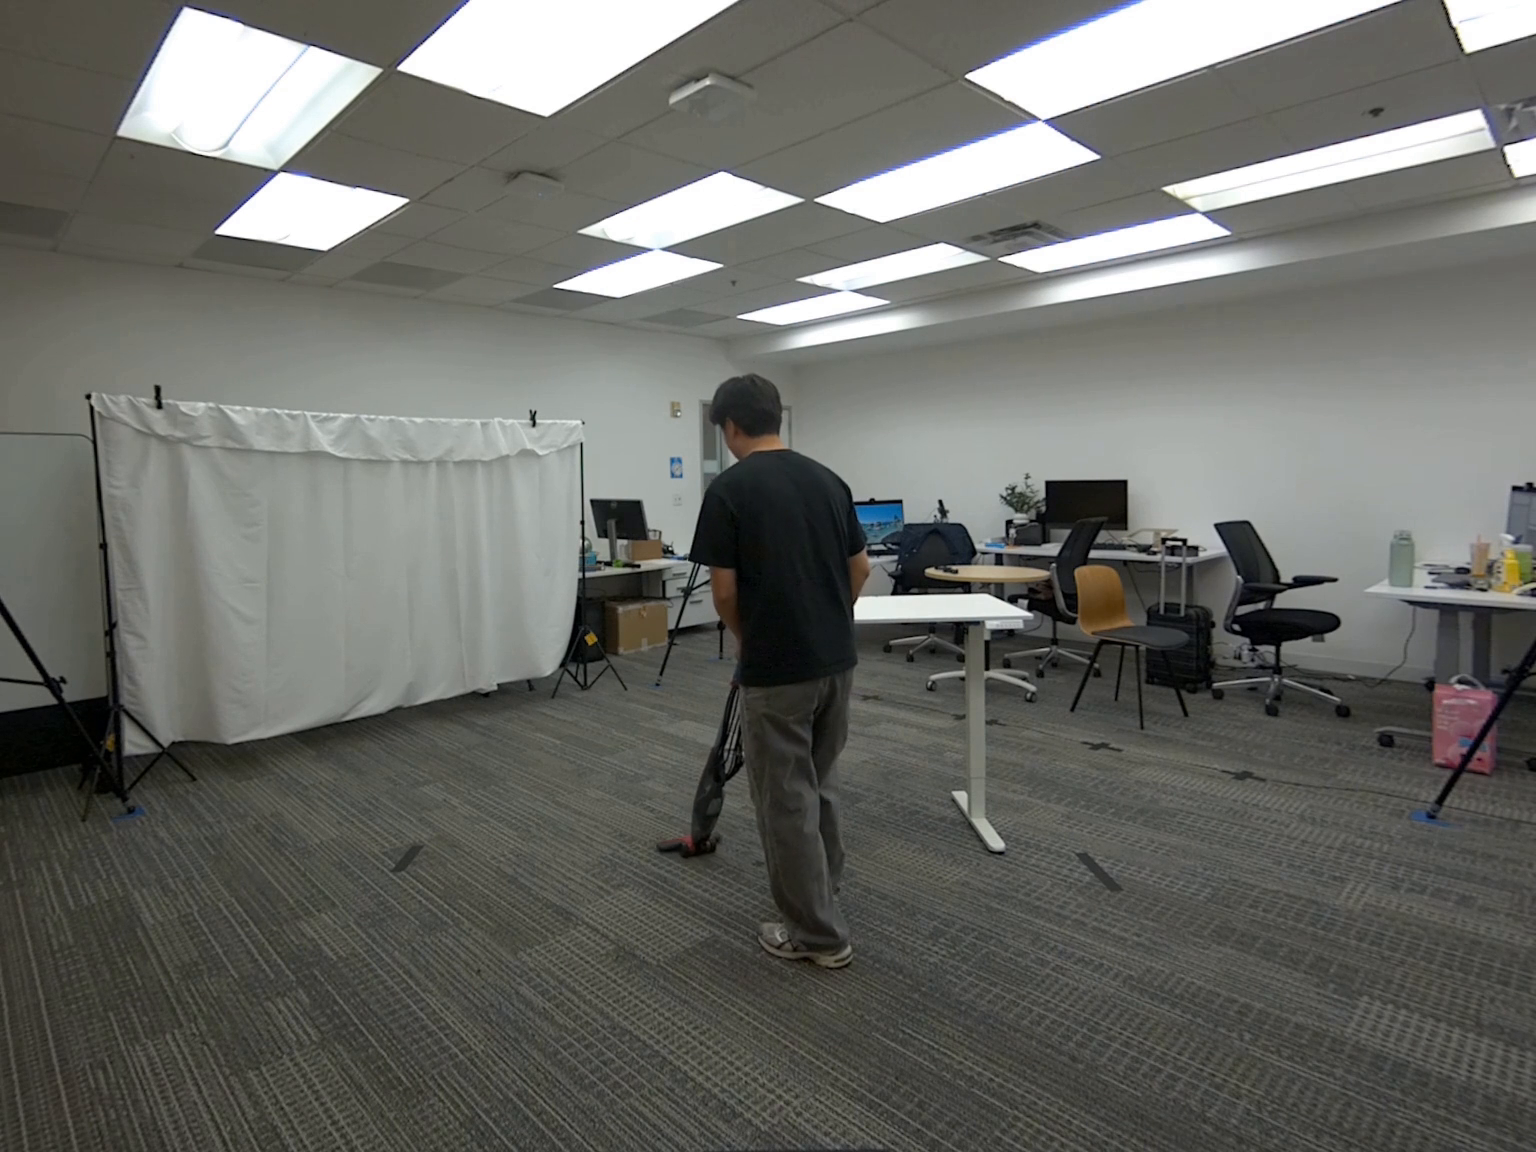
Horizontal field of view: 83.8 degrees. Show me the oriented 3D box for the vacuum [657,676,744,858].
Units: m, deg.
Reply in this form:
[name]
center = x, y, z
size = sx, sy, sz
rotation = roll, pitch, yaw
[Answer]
[vacuum]
center = -0.164, 0.635, 2.965
size = 0.247, 1.032, 0.149
rotation = -7, 42, -31
